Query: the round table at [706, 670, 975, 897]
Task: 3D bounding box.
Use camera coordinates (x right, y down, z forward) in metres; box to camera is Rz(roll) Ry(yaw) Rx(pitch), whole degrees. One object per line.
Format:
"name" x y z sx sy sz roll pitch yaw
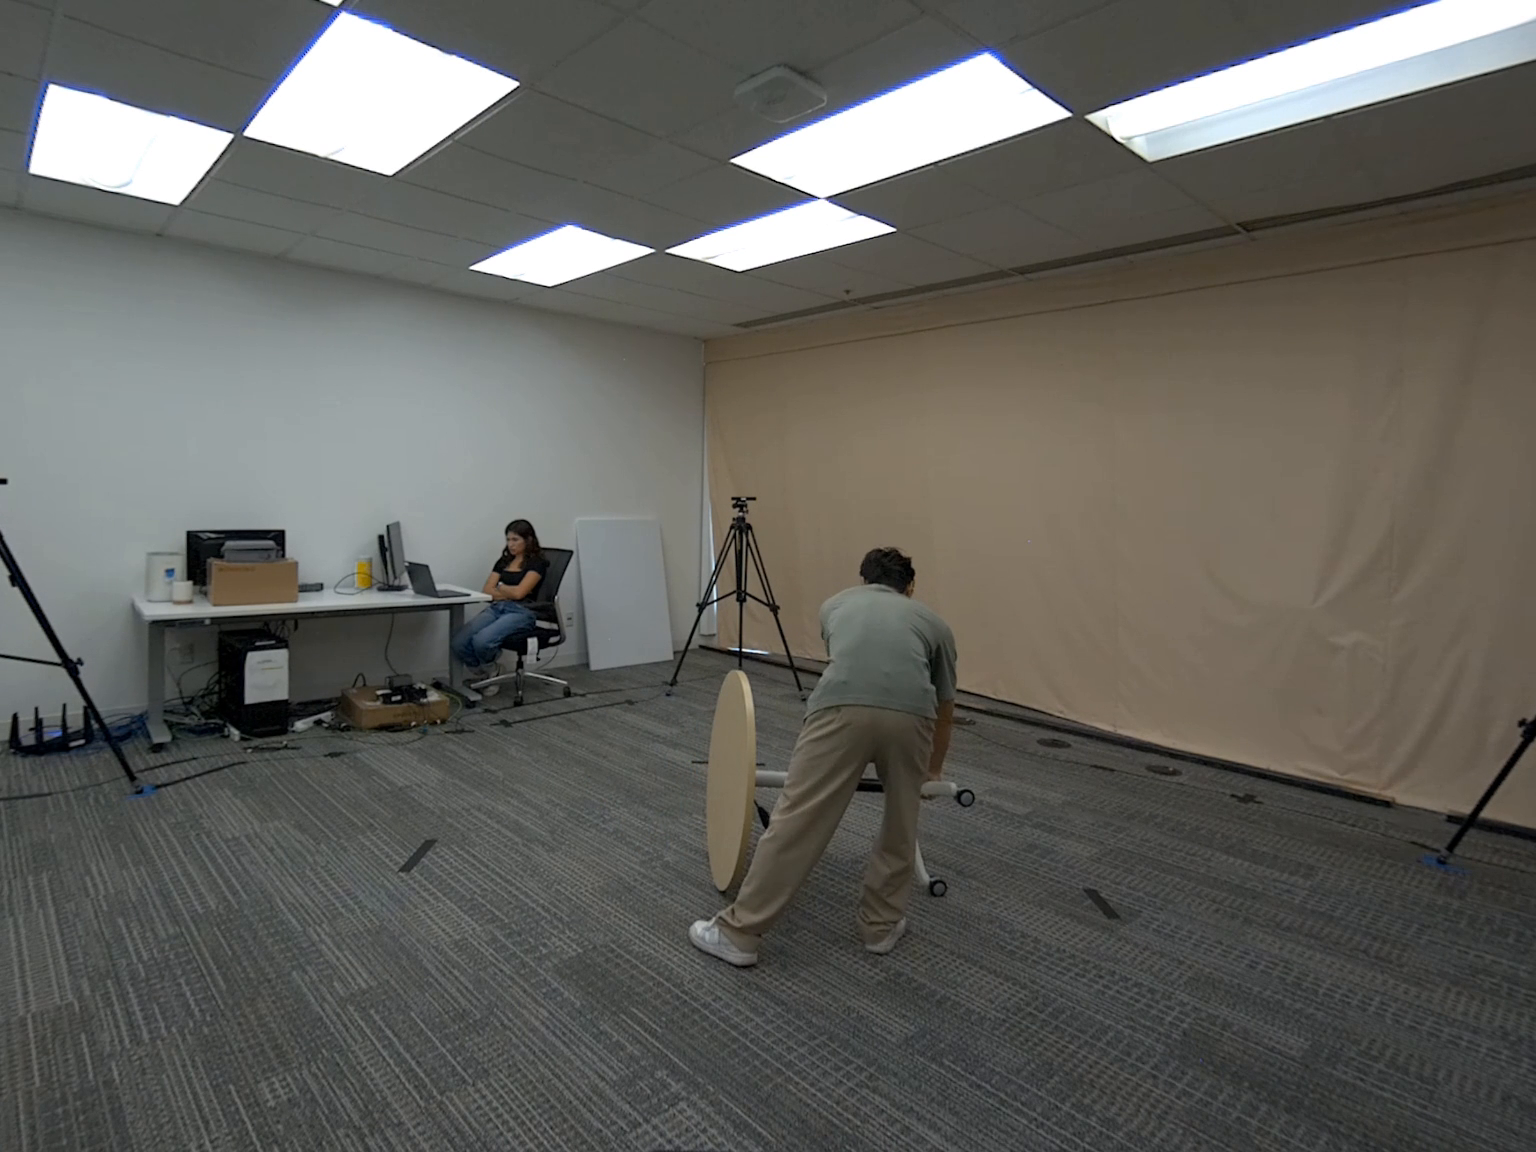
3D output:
"round table" 0.229 0.776 3.114 0.779 0.784 0.794 7 3 -11
